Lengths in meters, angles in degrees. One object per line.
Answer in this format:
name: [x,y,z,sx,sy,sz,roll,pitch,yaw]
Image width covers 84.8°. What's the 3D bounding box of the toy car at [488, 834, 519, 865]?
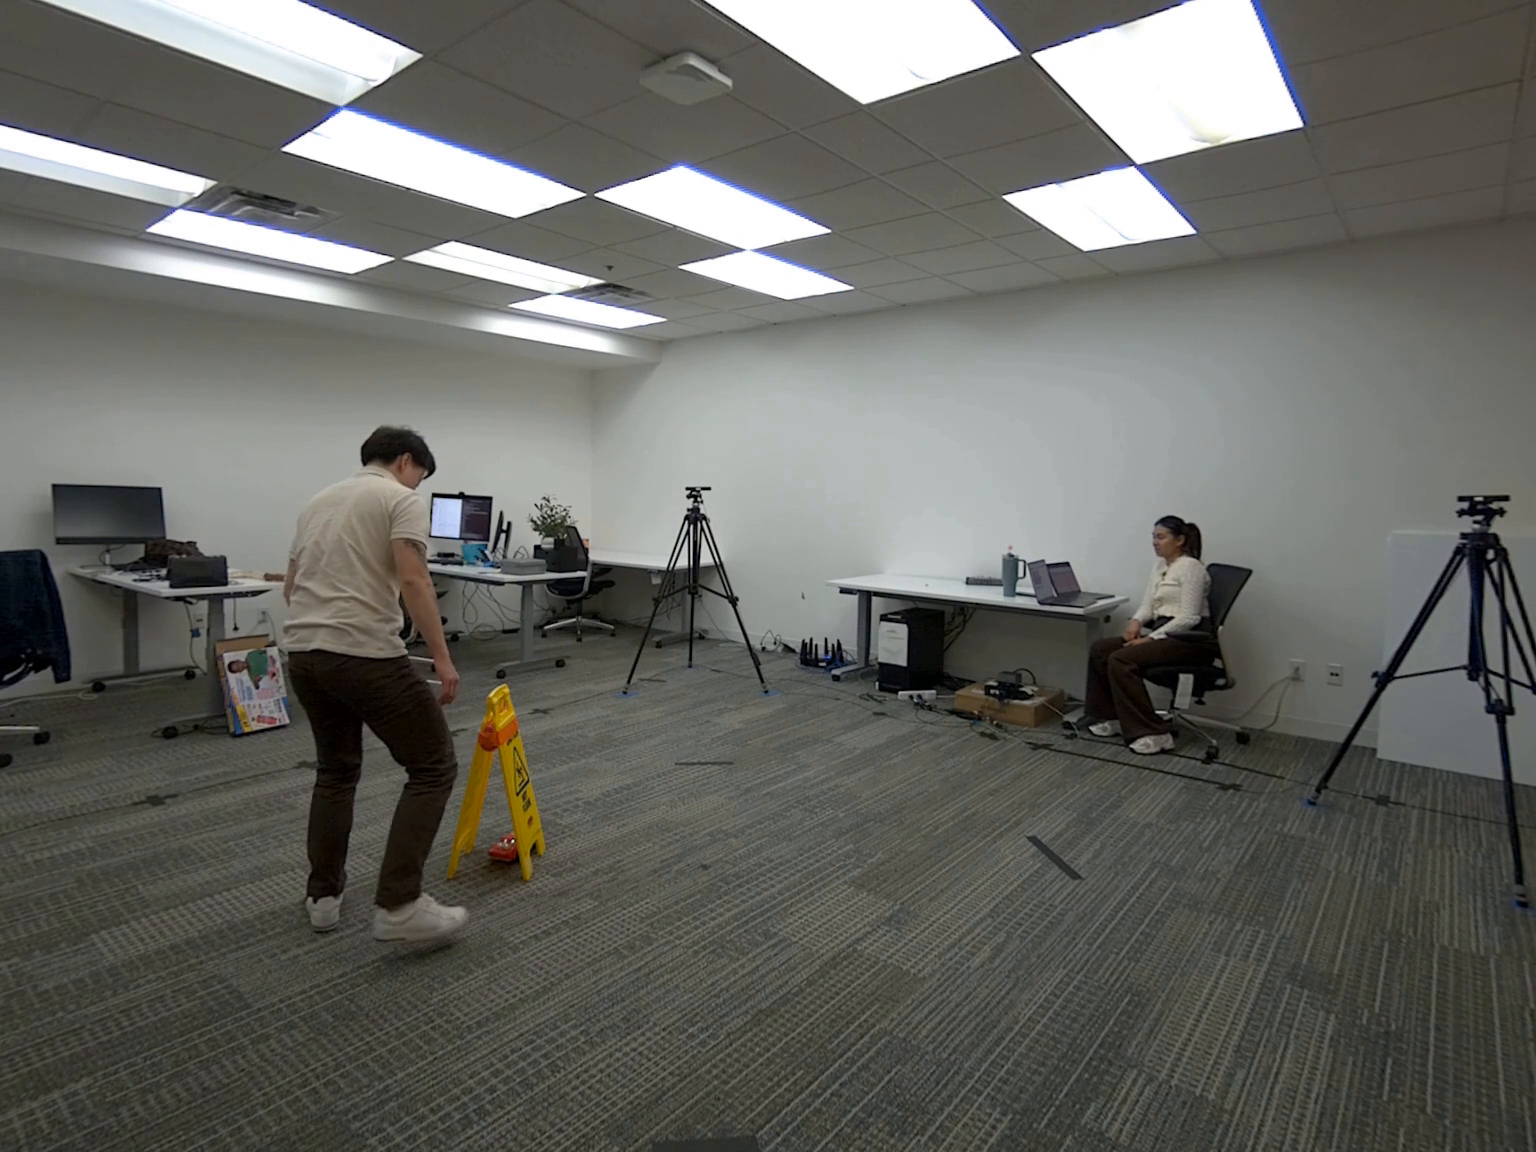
toy car: [-0.979,1.026,3.199,0.133,0.084,0.248,3,-8,17]
